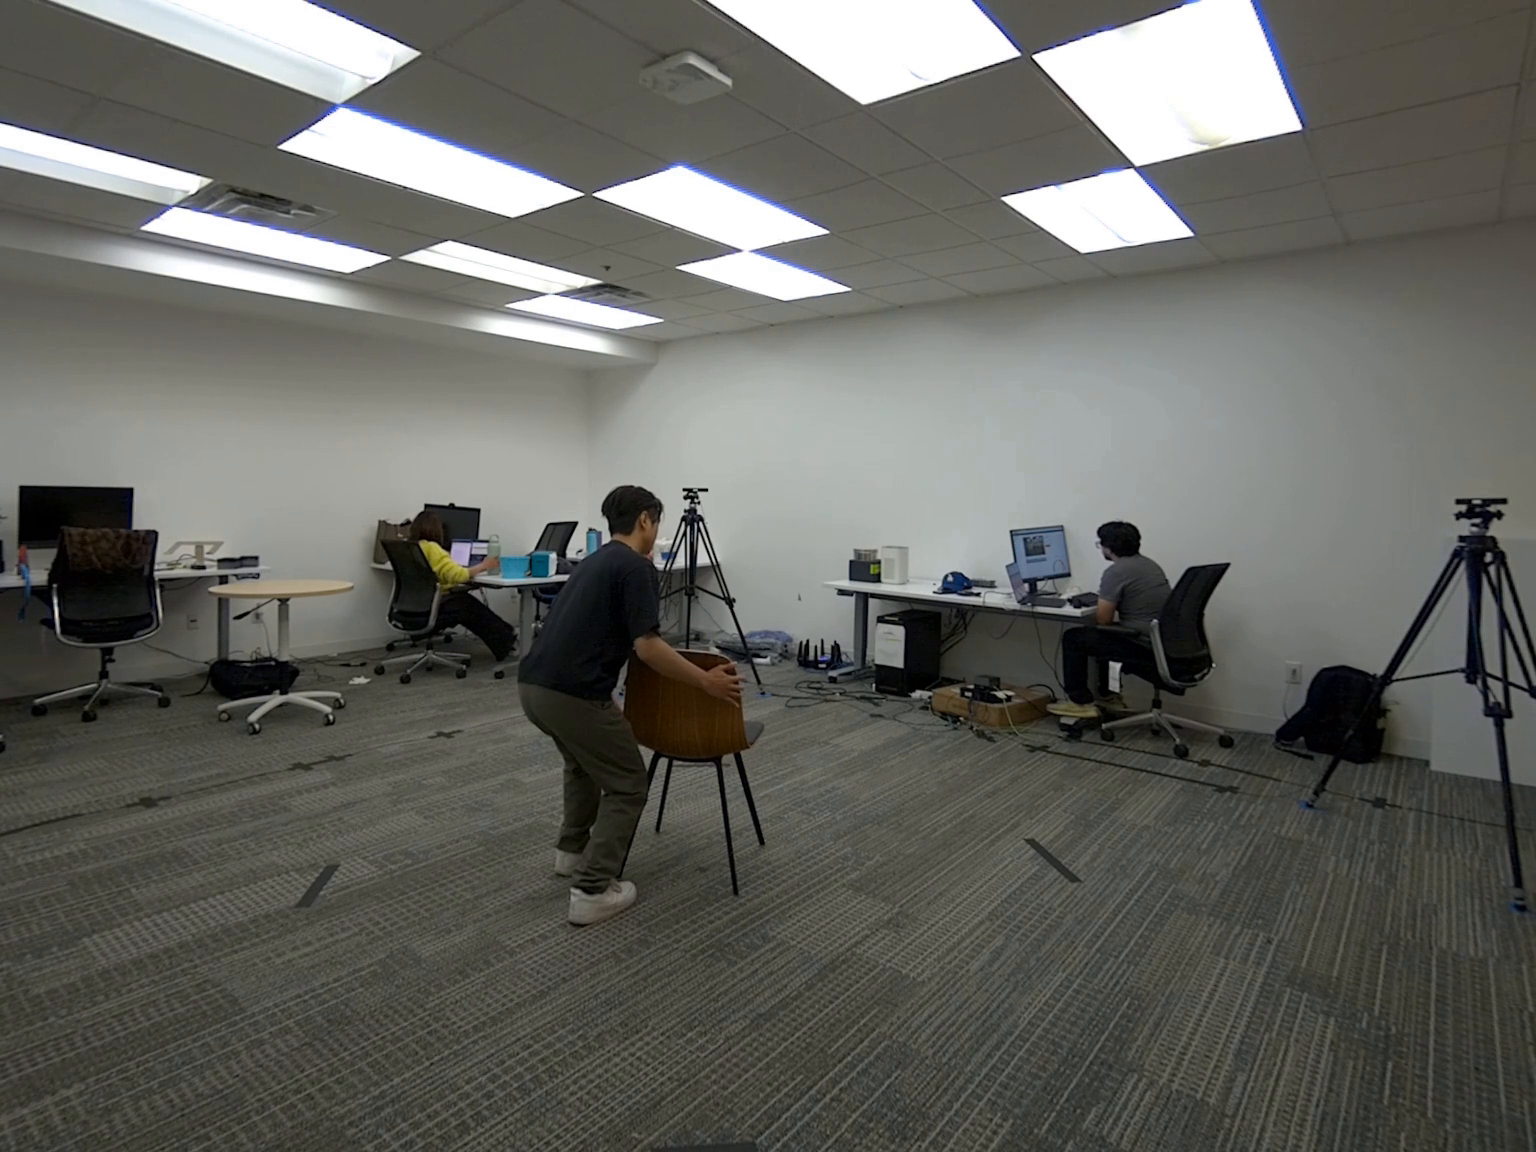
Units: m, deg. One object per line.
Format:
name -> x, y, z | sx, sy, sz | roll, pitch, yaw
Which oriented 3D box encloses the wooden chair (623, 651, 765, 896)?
wooden chair -> -0.278, 0.638, 3.162 | 0.485, 0.871, 0.519 | 1, 7, 13
